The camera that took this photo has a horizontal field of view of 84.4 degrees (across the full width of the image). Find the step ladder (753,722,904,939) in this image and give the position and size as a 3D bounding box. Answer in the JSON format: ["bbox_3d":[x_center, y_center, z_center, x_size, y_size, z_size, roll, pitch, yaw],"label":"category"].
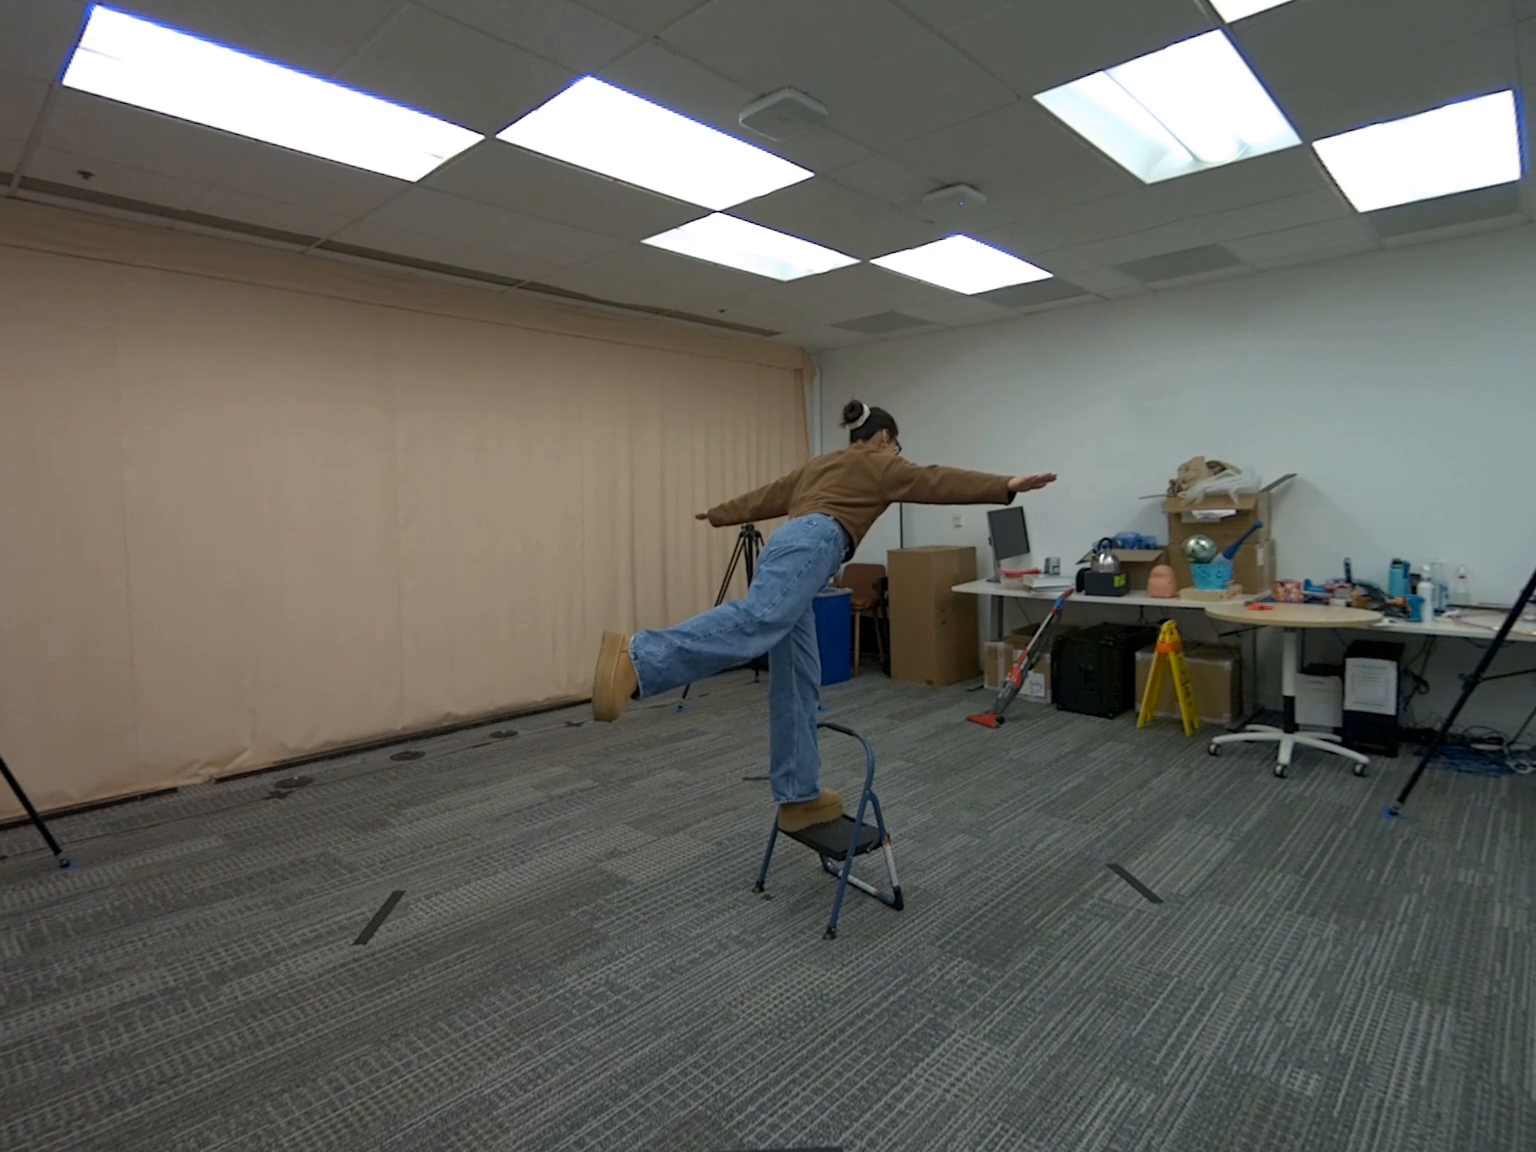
[{"bbox_3d":[0.209,0.837,2.939,0.339,0.605,0.444,-3,4,-36],"label":"step ladder"}]
